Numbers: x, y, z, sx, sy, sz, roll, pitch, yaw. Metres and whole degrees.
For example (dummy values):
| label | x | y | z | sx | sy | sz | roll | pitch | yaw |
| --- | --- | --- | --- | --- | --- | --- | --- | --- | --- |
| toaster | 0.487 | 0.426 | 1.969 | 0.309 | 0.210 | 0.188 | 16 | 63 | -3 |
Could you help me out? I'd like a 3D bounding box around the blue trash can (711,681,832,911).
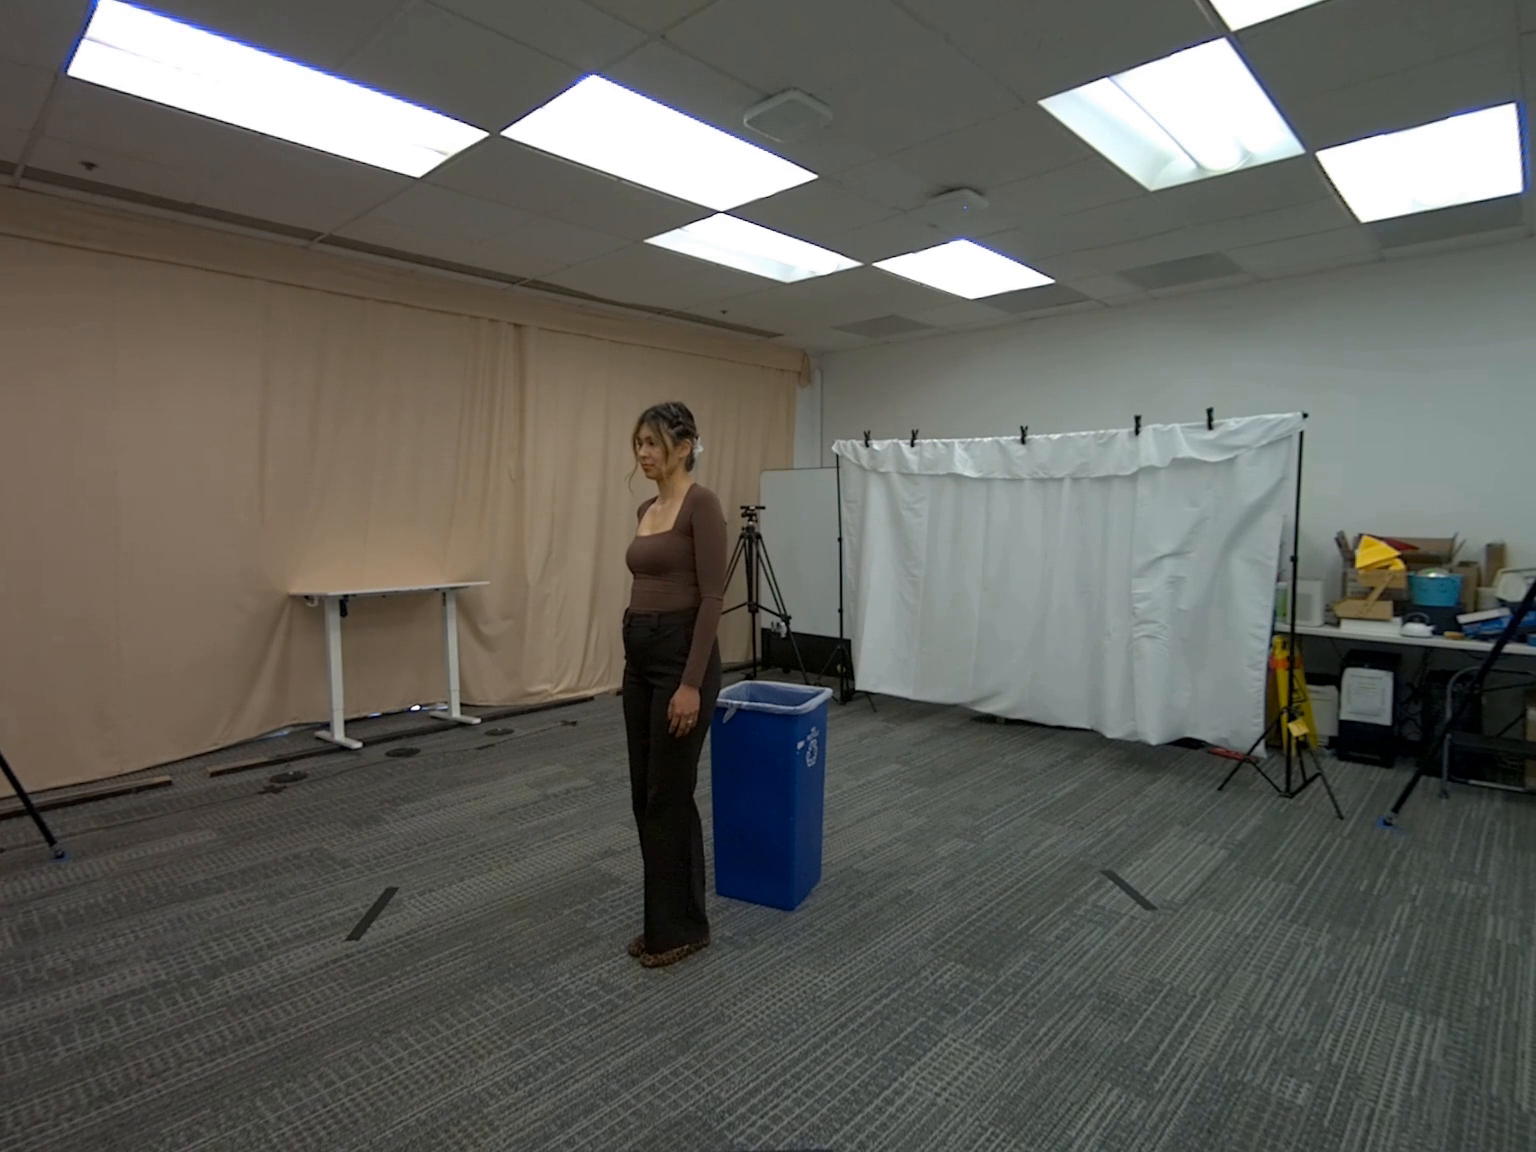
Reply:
| label | x | y | z | sx | sy | sz | roll | pitch | yaw |
| --- | --- | --- | --- | --- | --- | --- | --- | --- | --- |
| blue trash can | 0.005 | 0.778 | 3.063 | 0.384 | 0.712 | 0.369 | 3 | 4 | 24 |
